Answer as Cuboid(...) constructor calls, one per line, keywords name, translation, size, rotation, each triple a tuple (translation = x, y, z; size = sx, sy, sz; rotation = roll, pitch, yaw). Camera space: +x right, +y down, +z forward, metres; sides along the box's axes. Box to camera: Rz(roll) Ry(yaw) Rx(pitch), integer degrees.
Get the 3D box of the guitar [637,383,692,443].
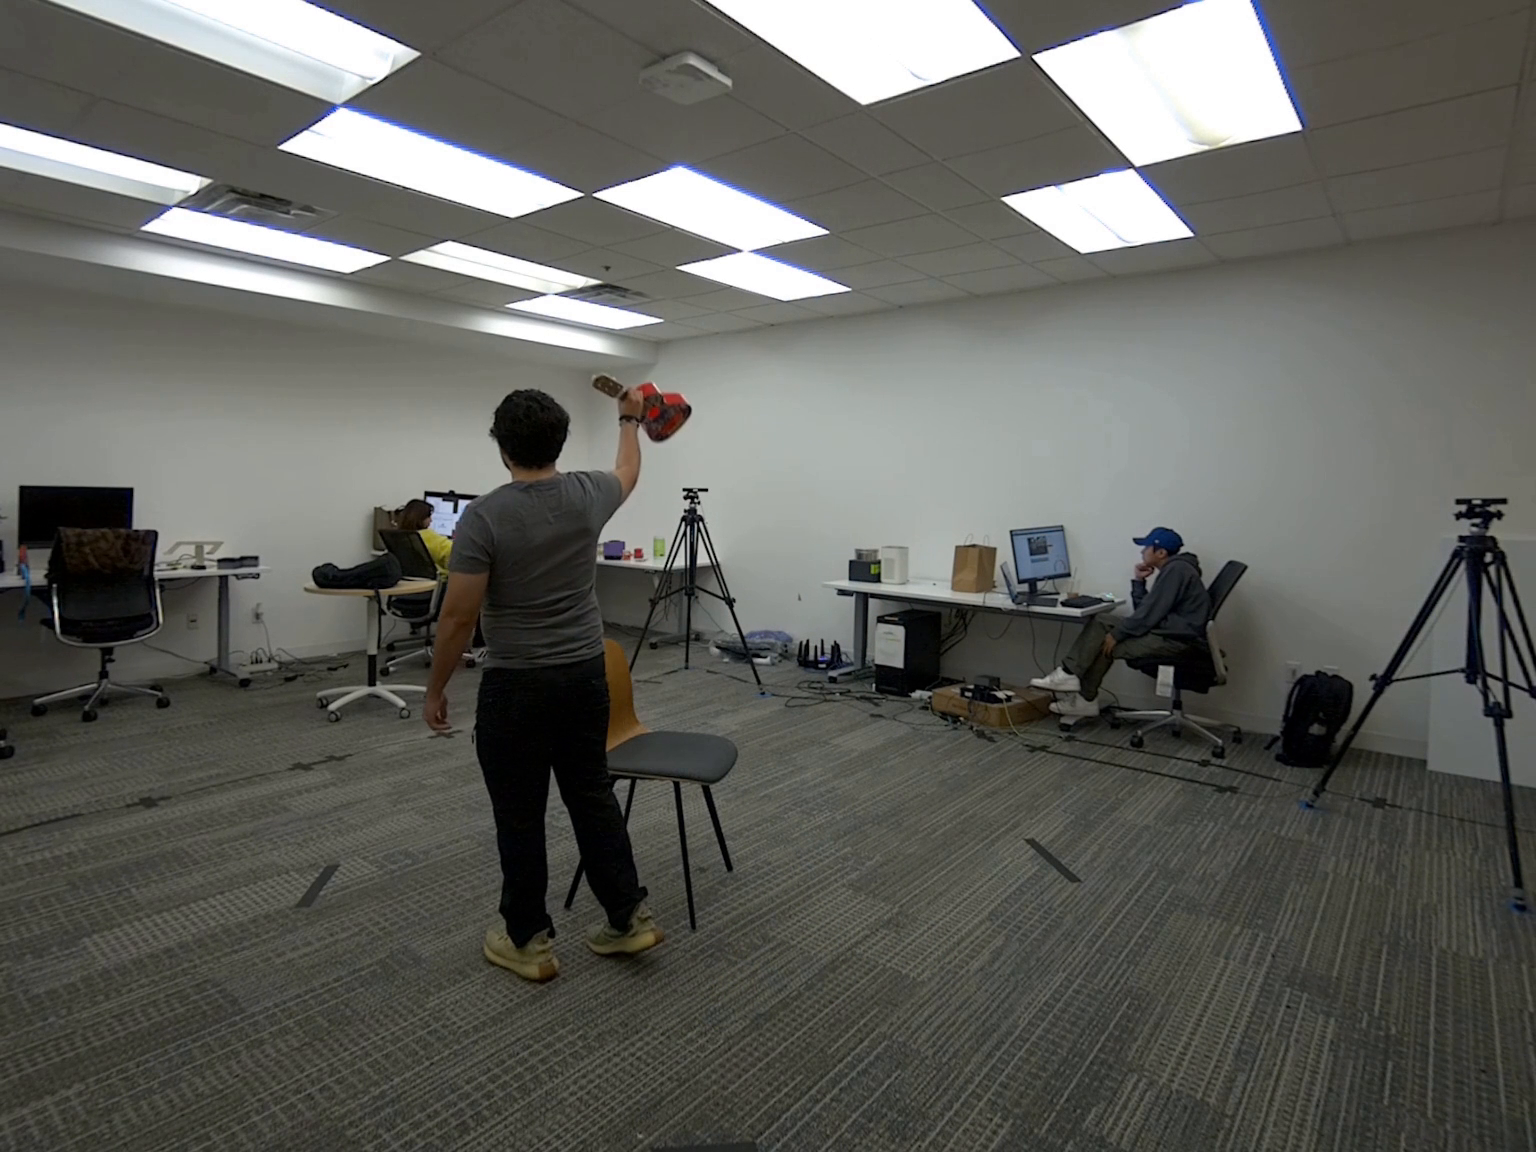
Cuboid(name="guitar", translation=(-0.447, -0.611, 2.943), size=(0.193, 0.073, 0.480), rotation=(-39, -27, 6))
